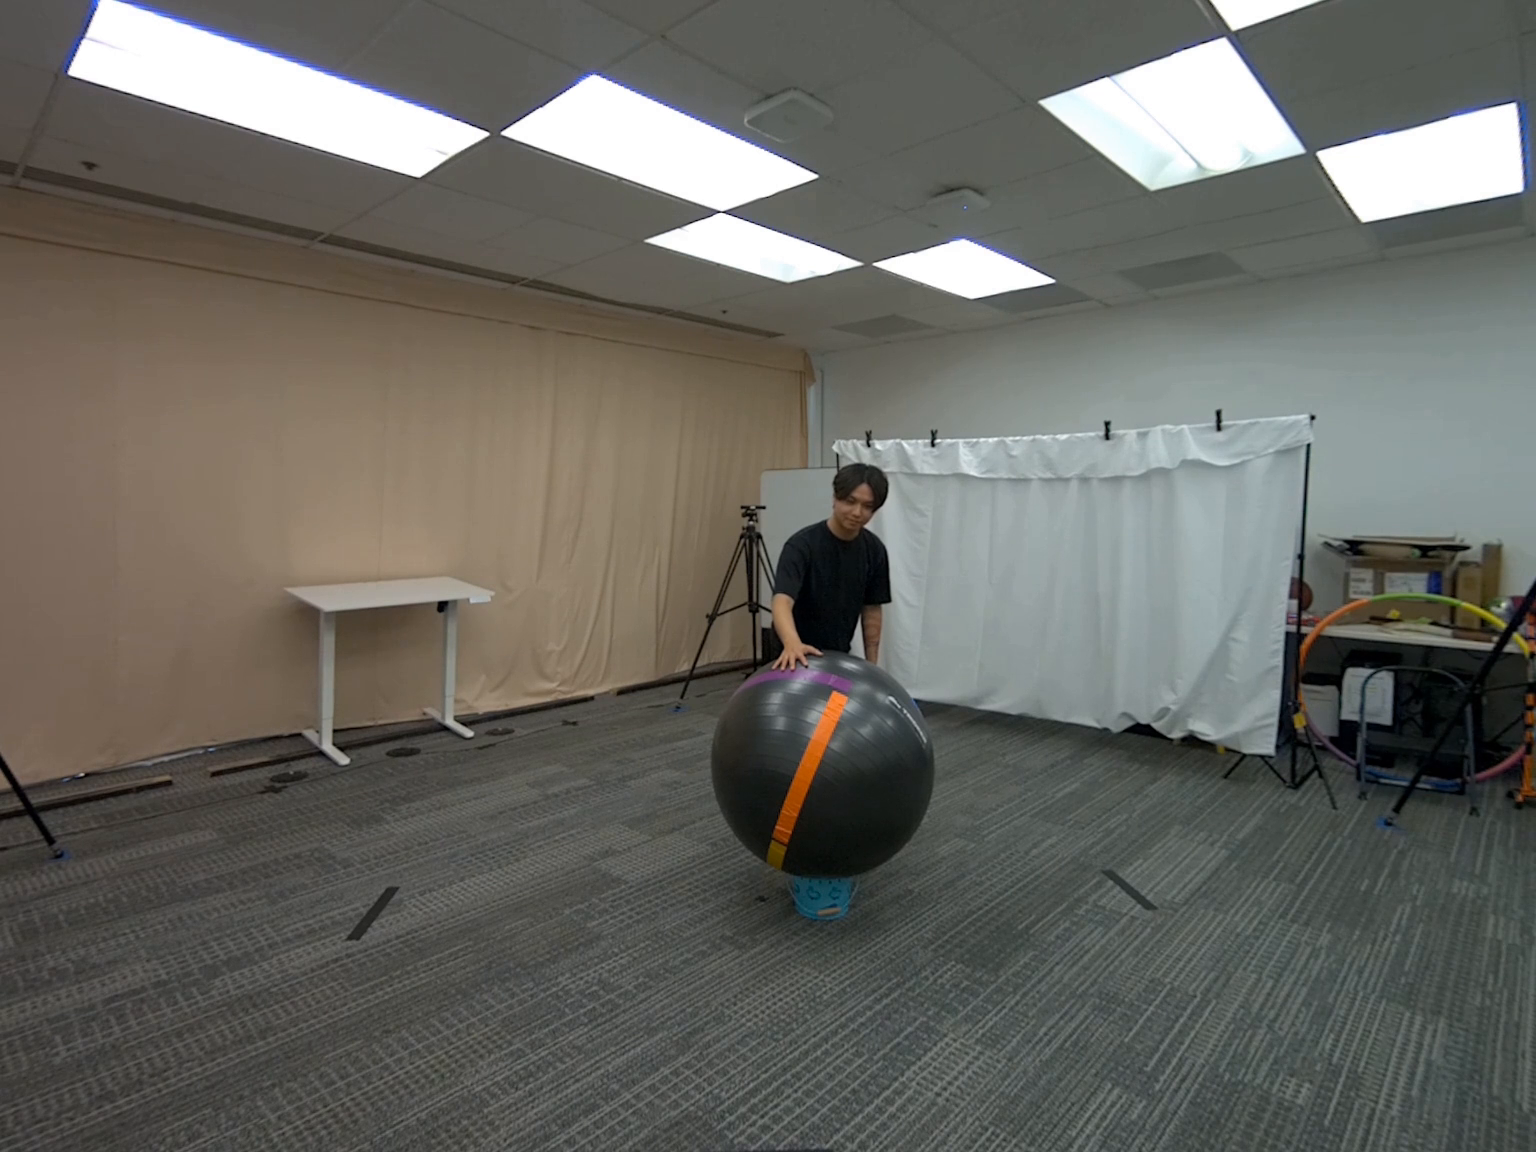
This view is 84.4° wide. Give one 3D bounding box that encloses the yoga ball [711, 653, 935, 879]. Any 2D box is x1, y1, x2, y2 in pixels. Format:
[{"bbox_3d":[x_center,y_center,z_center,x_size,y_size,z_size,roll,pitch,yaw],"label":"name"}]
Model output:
[{"bbox_3d":[0.185,0.642,2.886,0.757,0.756,0.760,0,4,-2],"label":"yoga ball"}]
